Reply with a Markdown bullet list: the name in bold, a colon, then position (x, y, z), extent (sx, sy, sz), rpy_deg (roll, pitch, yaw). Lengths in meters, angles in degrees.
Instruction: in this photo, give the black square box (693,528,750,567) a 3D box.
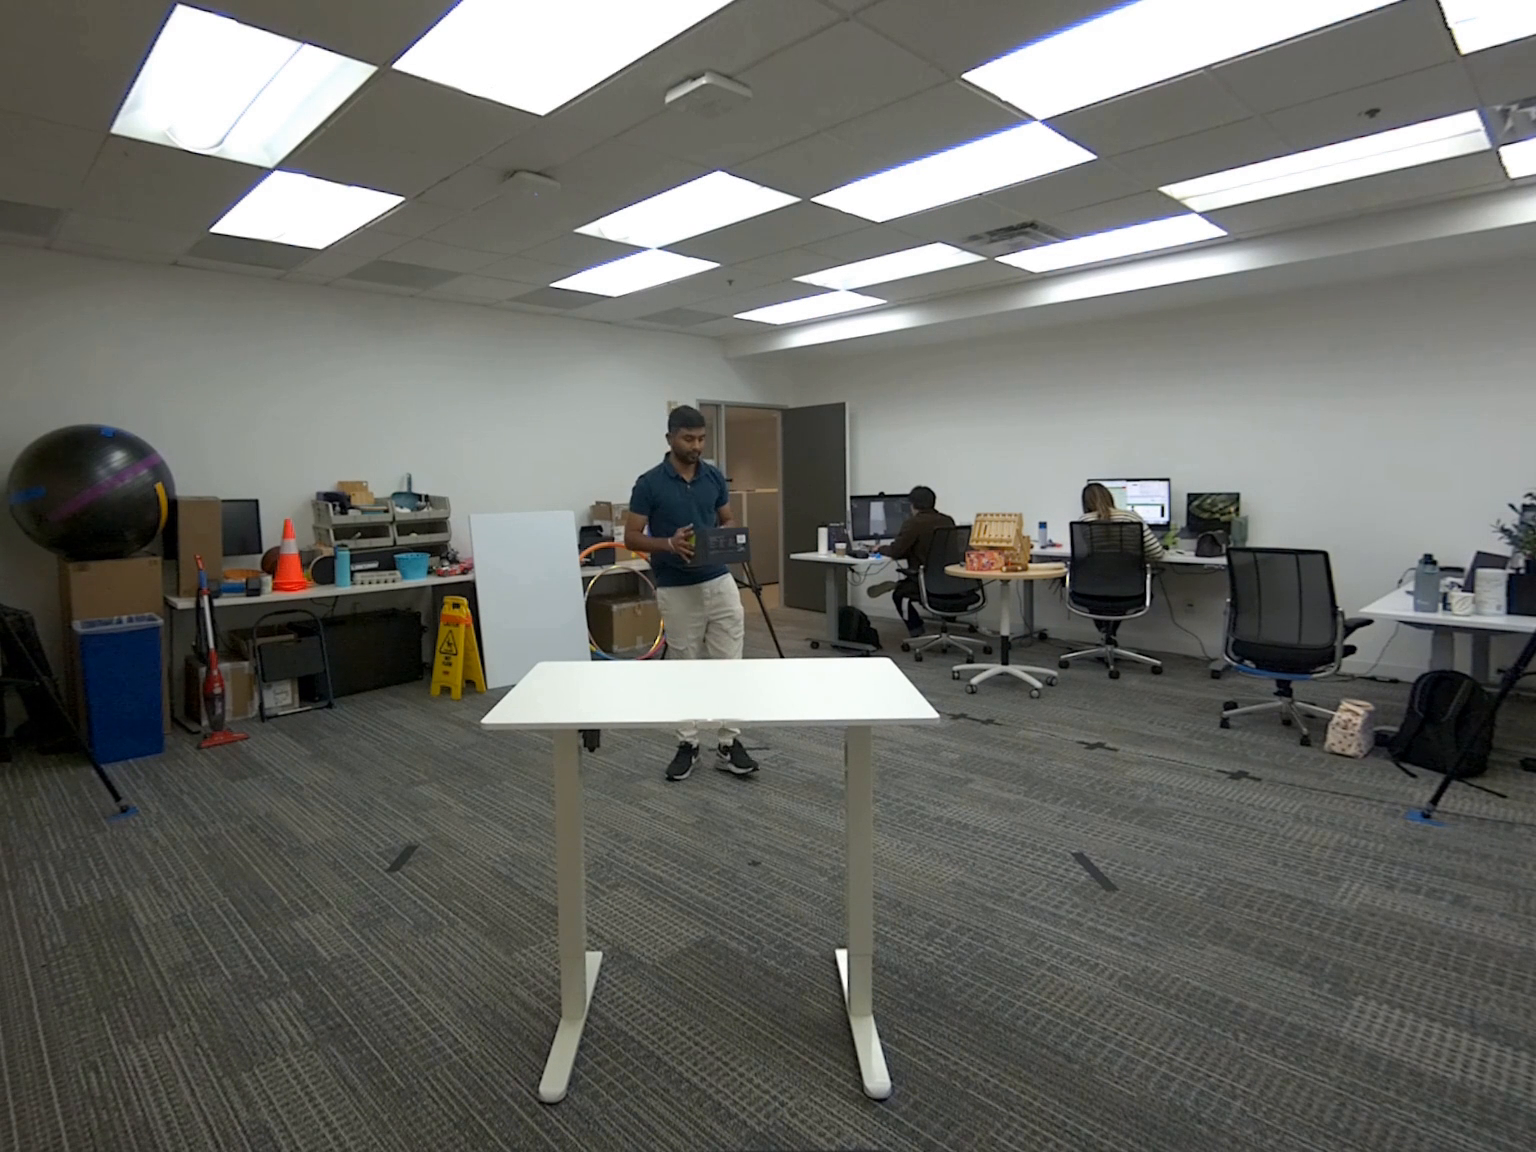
- **black square box**: position (-0.205, -0.133, 3.769), extent (0.214, 0.156, 0.231), rpy_deg (-5, 3, -17)
